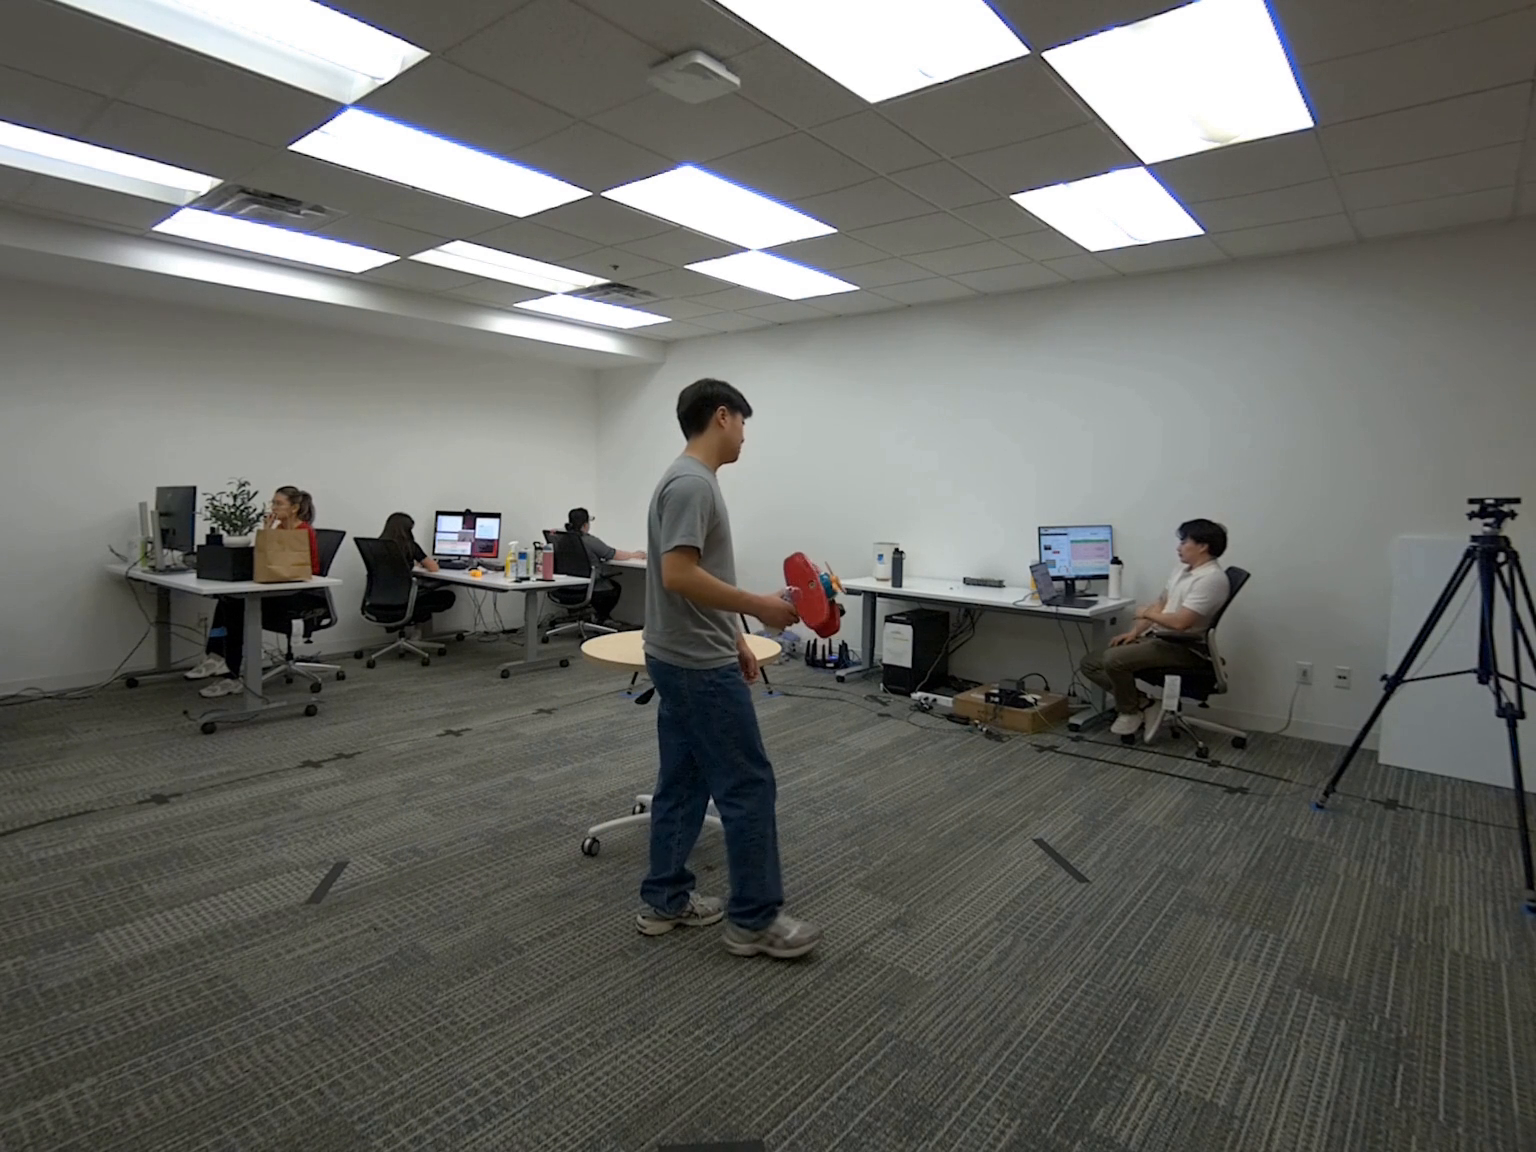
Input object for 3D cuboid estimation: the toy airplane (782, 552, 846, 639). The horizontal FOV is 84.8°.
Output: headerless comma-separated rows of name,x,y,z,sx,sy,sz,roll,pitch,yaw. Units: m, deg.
toy airplane,0.097,0.094,2.475,0.261,0.259,0.150,36,-16,33
